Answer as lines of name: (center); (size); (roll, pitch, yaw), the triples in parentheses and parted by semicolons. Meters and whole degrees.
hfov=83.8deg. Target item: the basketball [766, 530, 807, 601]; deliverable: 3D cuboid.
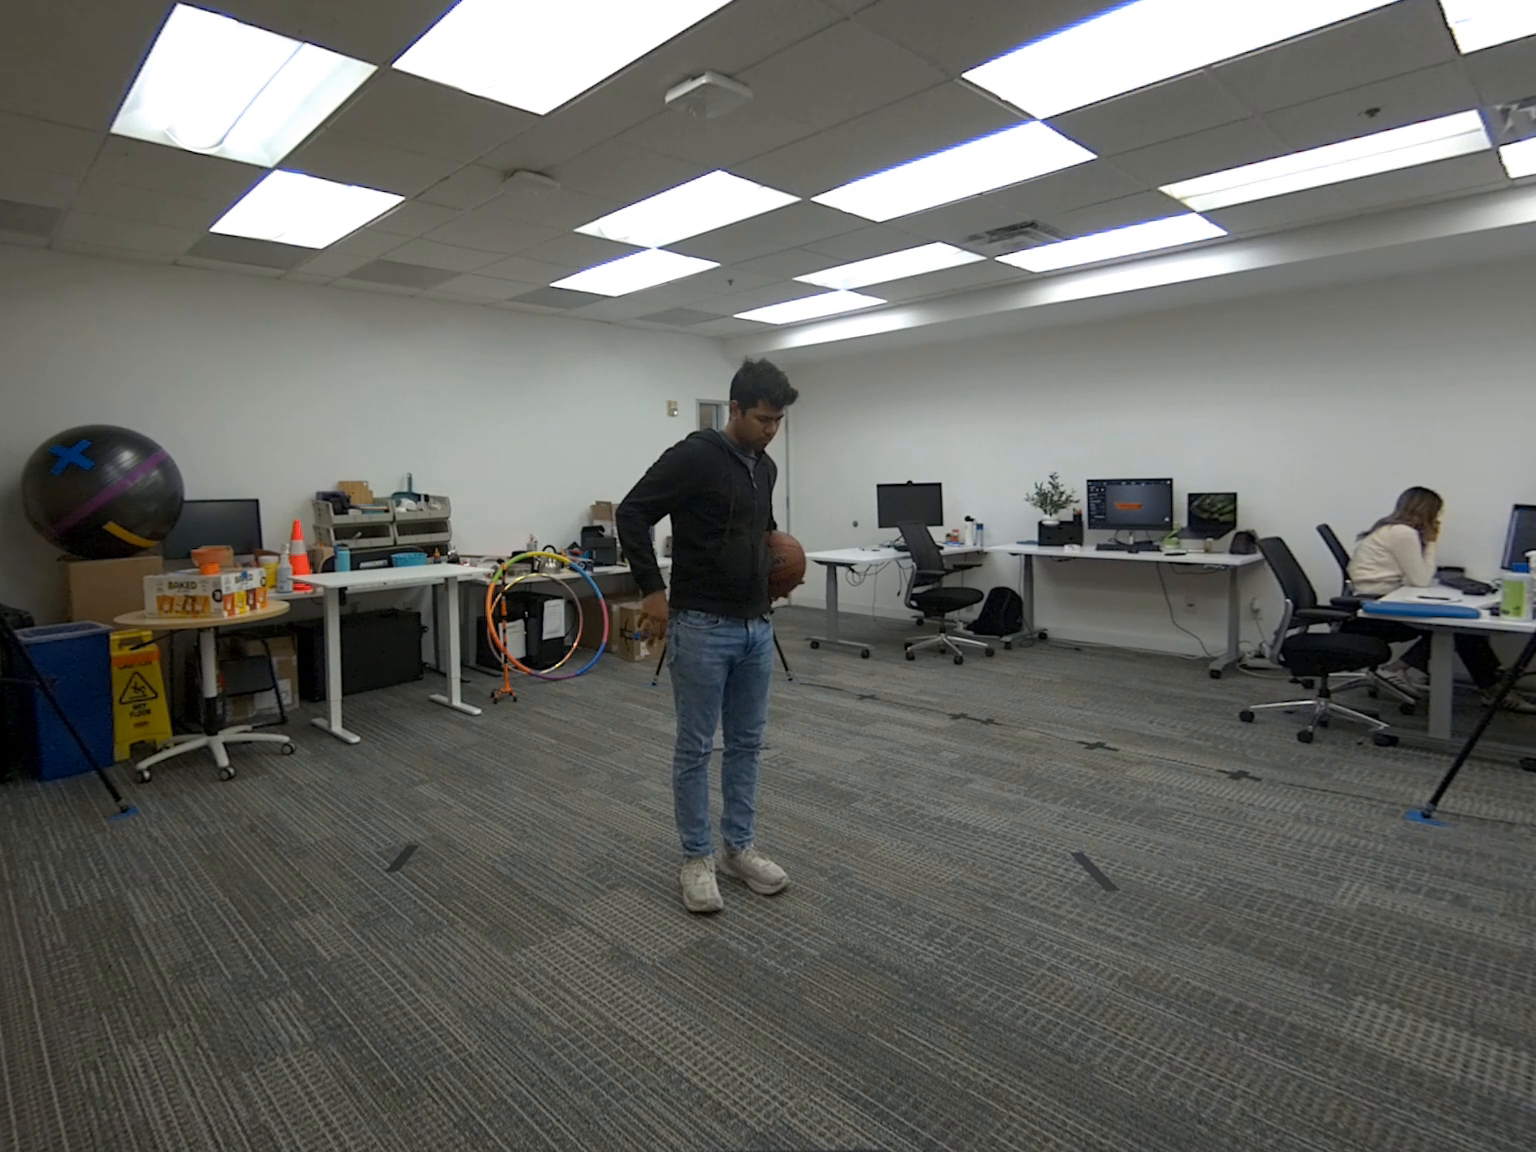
basketball: (0.020, -0.052, 3.074); (0.236, 0.235, 0.237); (-1, 5, -2)
